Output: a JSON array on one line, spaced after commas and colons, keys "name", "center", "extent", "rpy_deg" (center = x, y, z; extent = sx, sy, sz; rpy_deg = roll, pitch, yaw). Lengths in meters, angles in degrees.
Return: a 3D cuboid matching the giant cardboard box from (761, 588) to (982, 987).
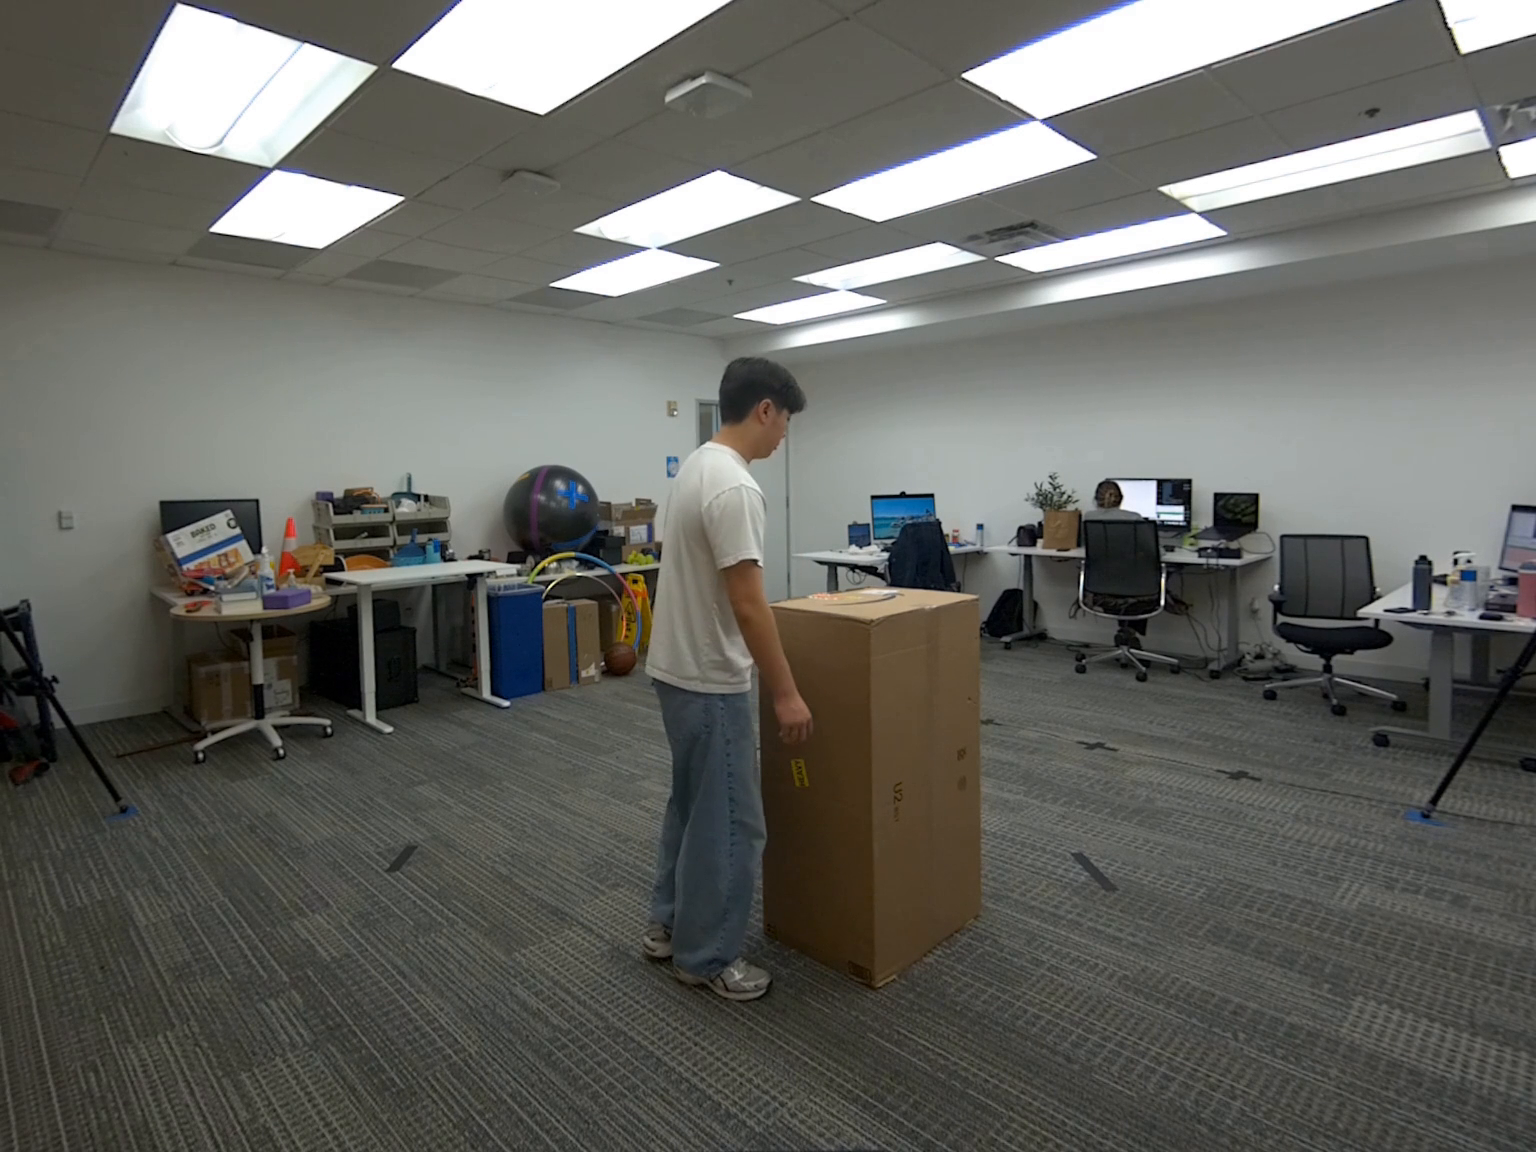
[{"name": "giant cardboard box", "center": [0.330, 0.584, 2.649], "extent": [0.439, 1.022, 0.562], "rpy_deg": [2, 5, 44]}]
